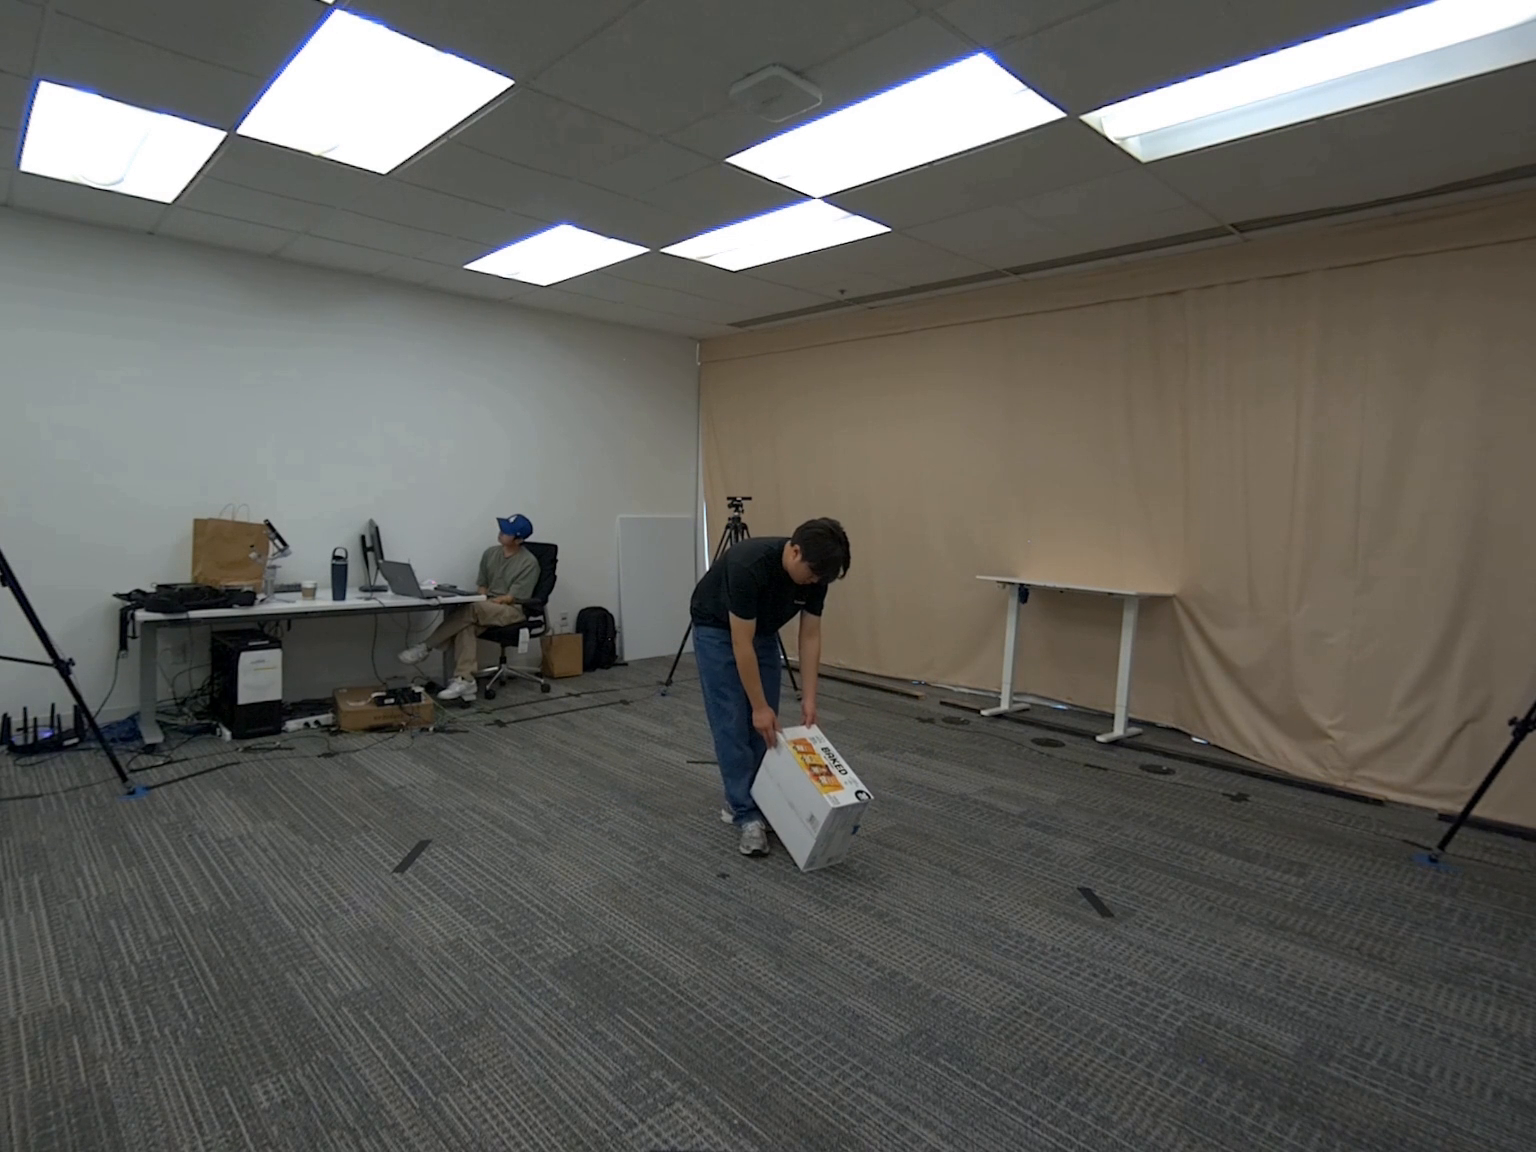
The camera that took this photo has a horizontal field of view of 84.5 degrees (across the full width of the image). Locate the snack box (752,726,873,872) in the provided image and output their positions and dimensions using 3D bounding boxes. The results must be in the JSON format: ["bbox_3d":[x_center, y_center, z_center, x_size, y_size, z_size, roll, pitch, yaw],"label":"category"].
[{"bbox_3d":[0.153,0.854,3.261,0.201,0.337,0.418,0,33,-34],"label":"snack box"}]
